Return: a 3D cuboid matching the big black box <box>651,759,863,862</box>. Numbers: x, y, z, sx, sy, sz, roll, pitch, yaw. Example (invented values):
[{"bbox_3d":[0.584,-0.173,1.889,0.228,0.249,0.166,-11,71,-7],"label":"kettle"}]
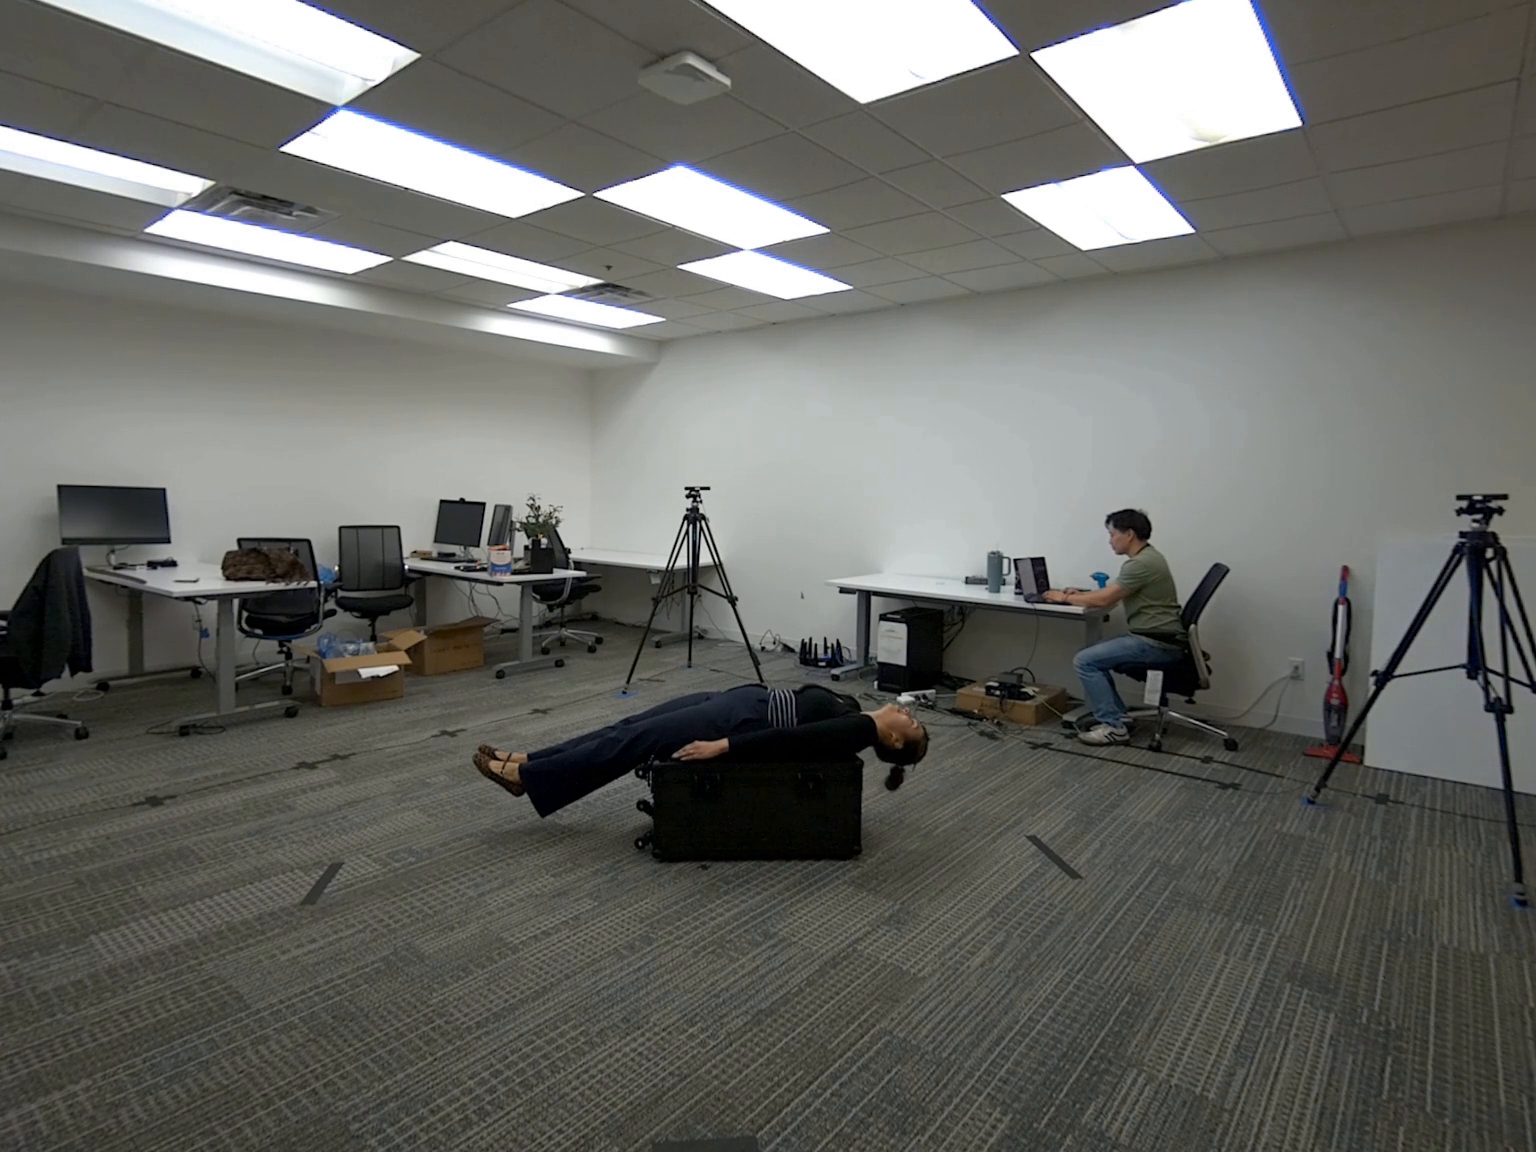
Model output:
[{"bbox_3d":[-0.109,0.844,3.389,0.857,0.394,0.526,1,6,-5],"label":"big black box"}]
